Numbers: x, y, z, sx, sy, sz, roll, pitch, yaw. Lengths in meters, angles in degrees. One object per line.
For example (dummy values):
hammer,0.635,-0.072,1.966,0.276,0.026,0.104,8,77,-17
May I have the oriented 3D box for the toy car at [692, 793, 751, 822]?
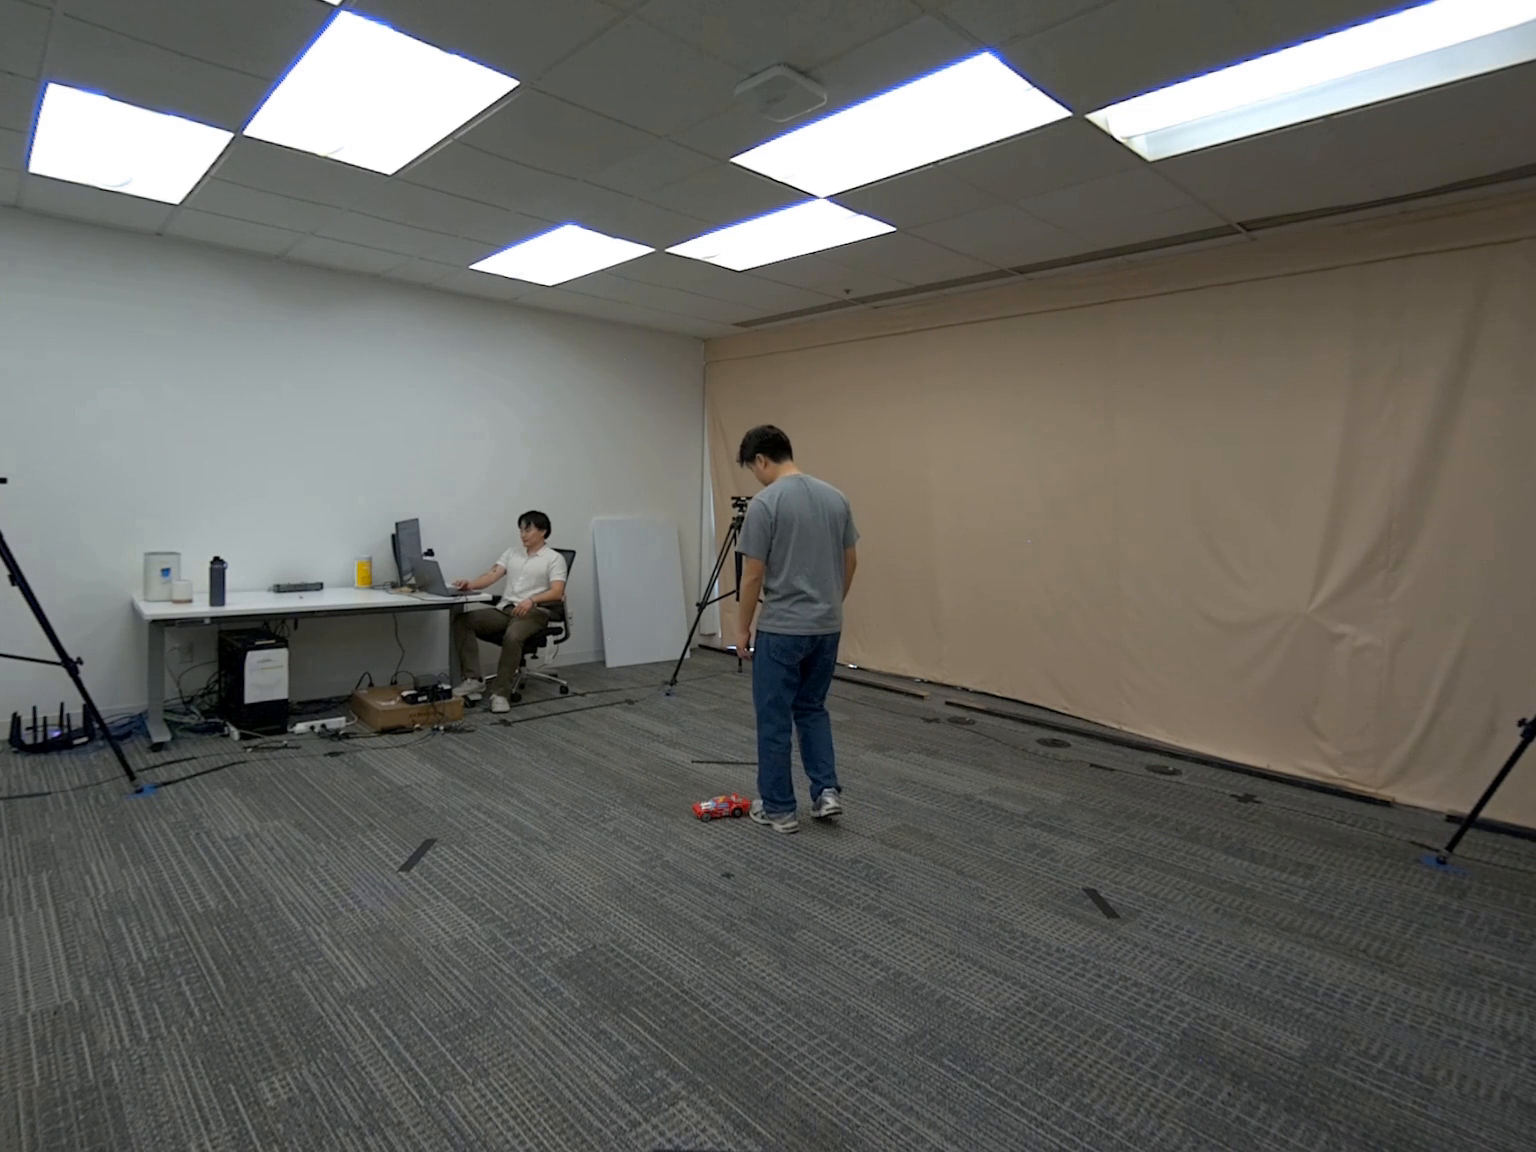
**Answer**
toy car,-0.207,1.013,3.706,0.251,0.082,0.133,-12,9,-21
